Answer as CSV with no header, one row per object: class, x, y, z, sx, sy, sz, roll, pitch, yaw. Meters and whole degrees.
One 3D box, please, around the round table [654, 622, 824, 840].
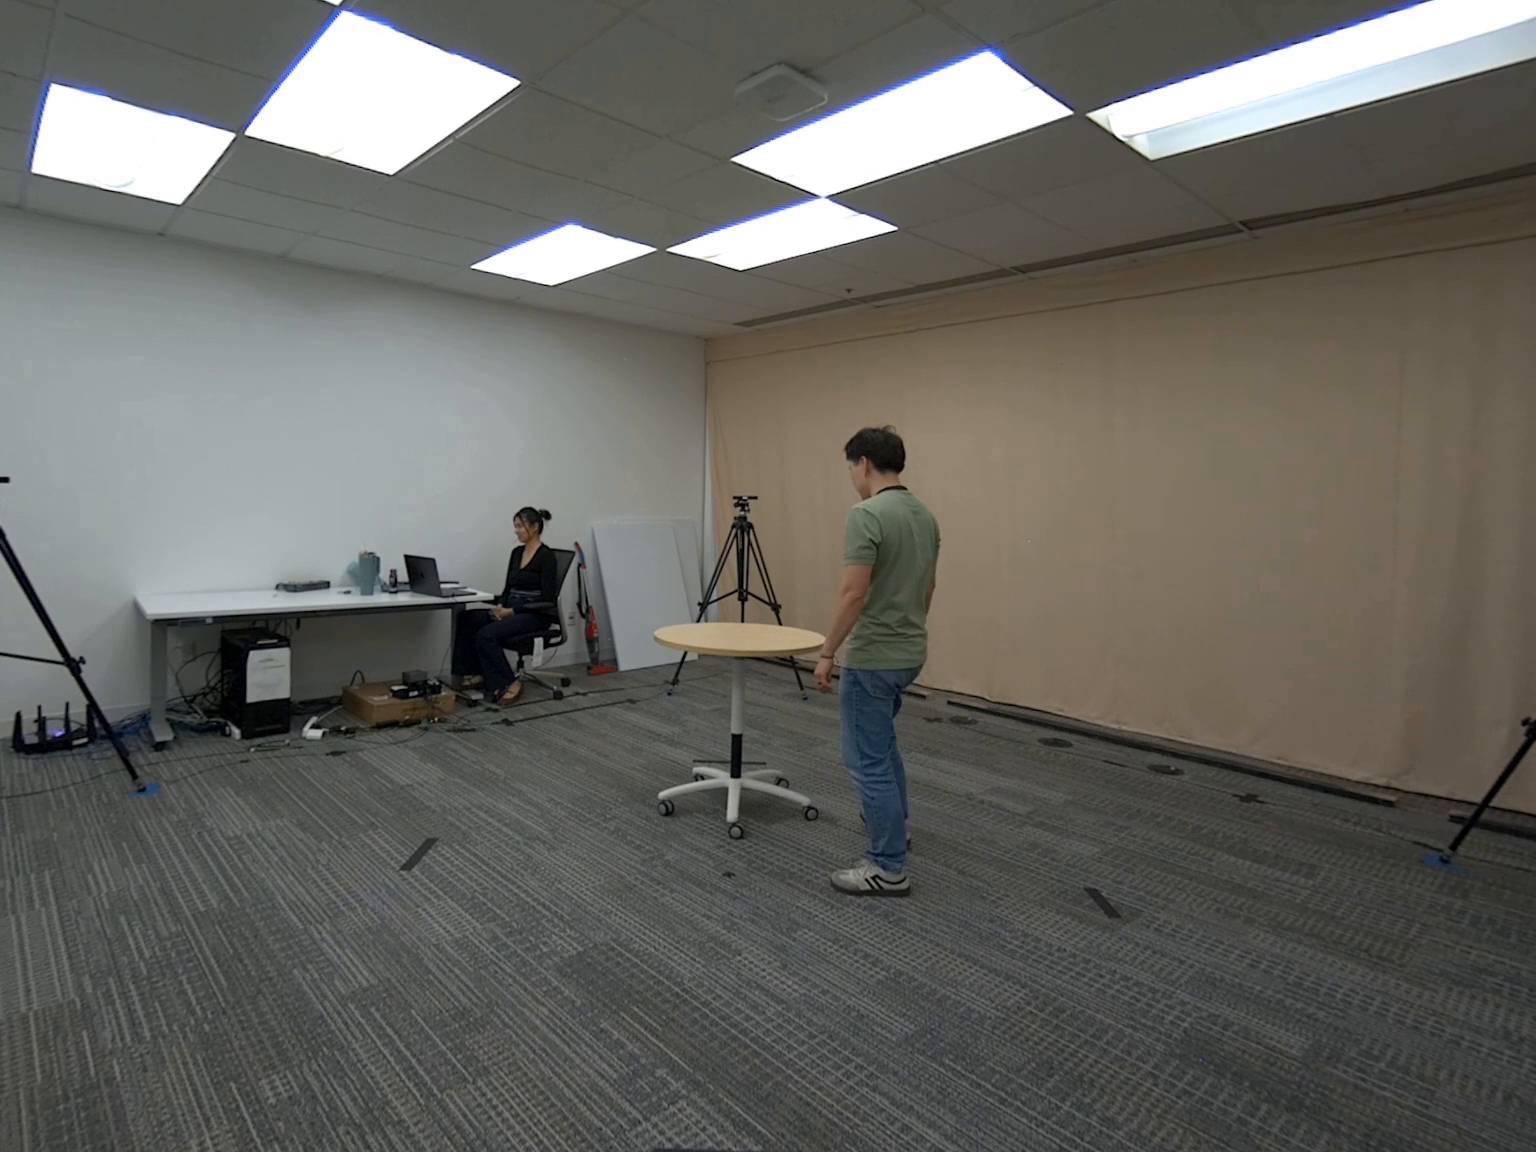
round table,-0.143,0.657,3.762,0.763,0.792,0.766,2,3,-1
